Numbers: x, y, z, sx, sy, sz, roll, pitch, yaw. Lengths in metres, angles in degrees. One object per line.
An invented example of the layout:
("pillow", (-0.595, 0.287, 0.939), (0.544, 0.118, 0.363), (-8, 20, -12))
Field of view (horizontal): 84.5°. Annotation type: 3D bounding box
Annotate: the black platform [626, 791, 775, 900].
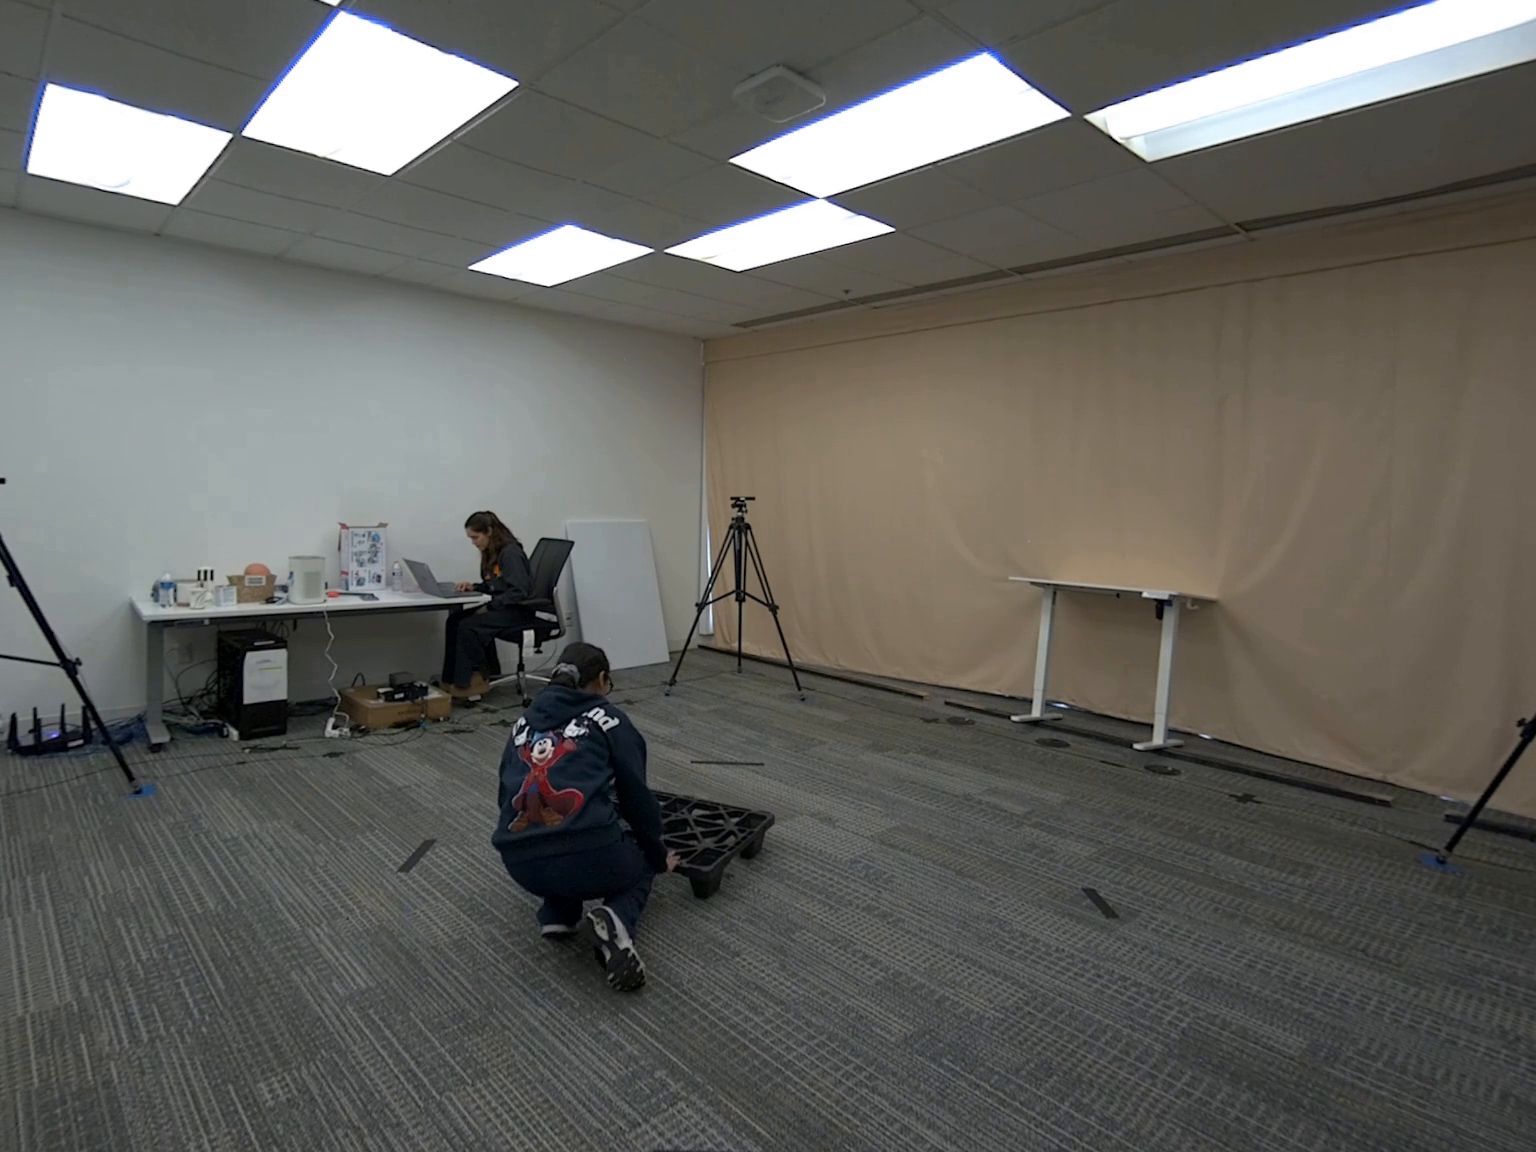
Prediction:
("black platform", (-0.453, 1.017, 3.273), (0.821, 0.143, 0.596), (4, 6, 24))
